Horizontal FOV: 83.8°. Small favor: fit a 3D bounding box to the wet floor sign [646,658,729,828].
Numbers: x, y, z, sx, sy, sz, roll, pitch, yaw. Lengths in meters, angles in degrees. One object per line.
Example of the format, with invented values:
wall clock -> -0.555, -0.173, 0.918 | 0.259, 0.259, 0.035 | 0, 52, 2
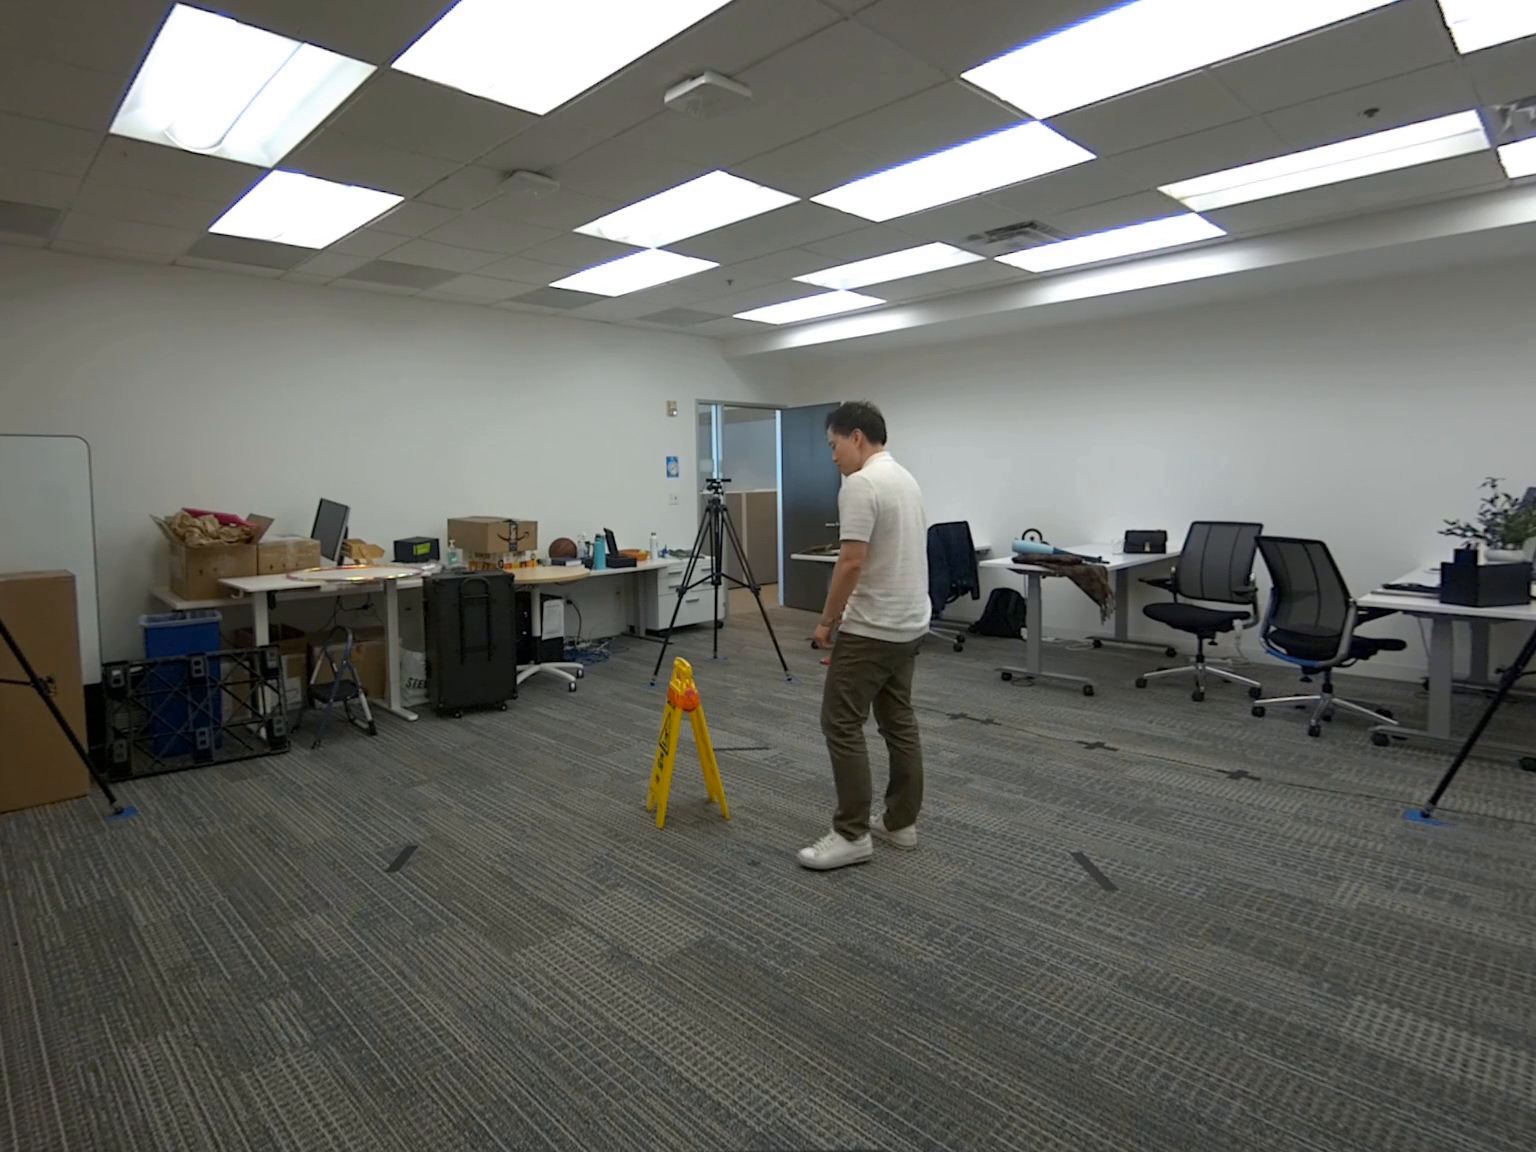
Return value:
wet floor sign -> -0.351, 0.674, 3.573 | 0.285, 0.644, 0.287 | -3, 3, -18
